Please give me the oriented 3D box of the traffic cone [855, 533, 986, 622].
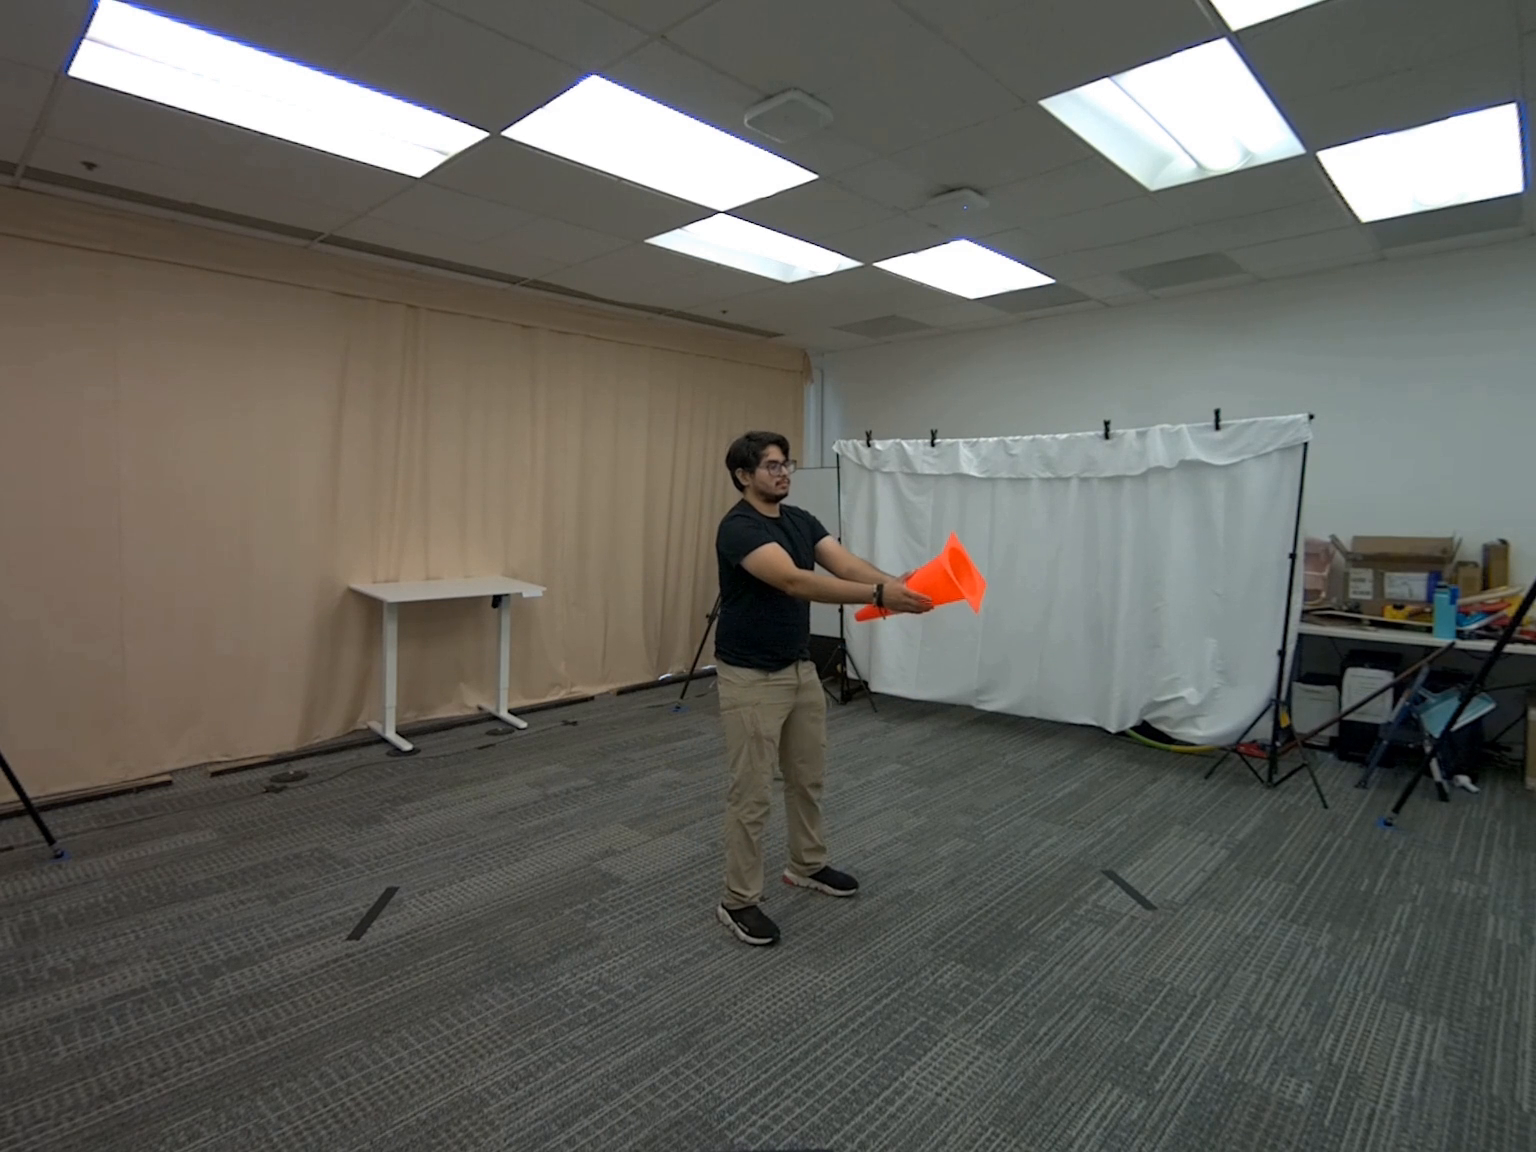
[{"bbox_3d":[0.437,0.059,2.549,0.391,0.201,0.204,-26,14,34],"label":"traffic cone"}]
